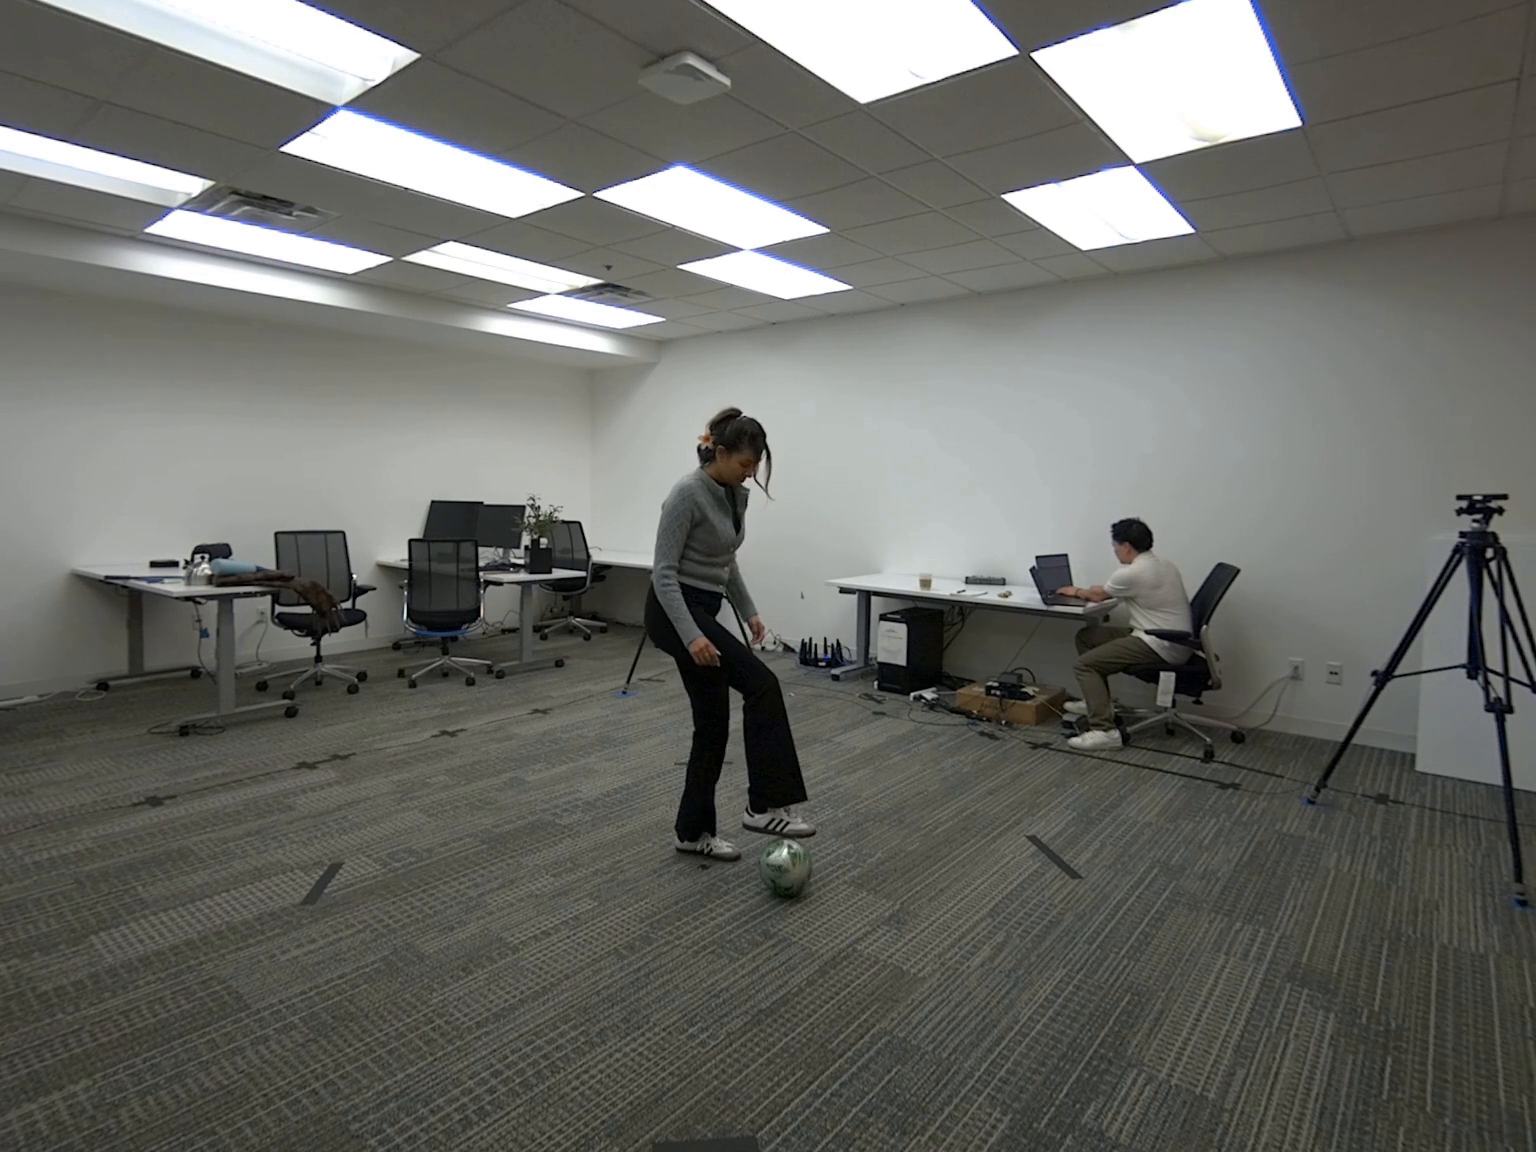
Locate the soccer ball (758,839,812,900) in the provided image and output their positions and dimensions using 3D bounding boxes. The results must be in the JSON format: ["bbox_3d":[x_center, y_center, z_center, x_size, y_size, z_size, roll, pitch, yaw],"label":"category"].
[{"bbox_3d":[0.045,0.995,2.931,0.187,0.187,0.188,1,4,-2],"label":"soccer ball"}]
